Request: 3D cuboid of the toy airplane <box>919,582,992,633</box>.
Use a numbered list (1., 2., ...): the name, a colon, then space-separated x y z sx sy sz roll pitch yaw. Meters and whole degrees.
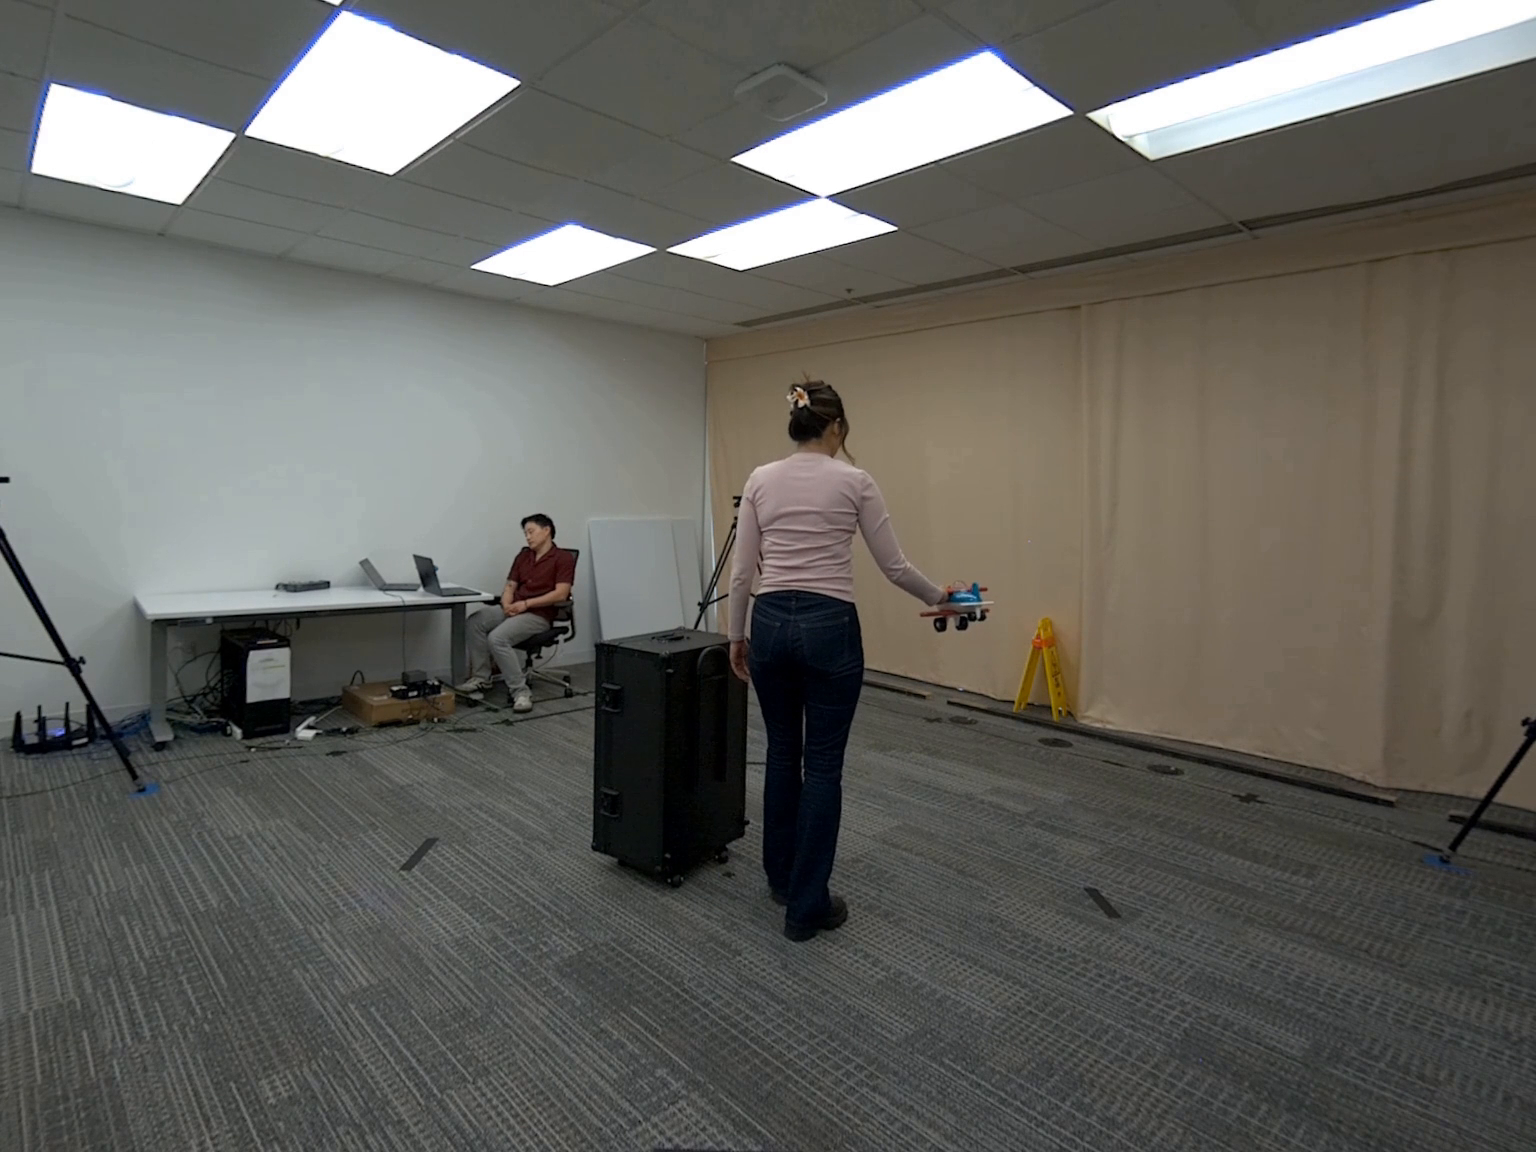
1. toy airplane: 0.680 0.104 2.951 0.245 0.158 0.263 5 -17 -41
